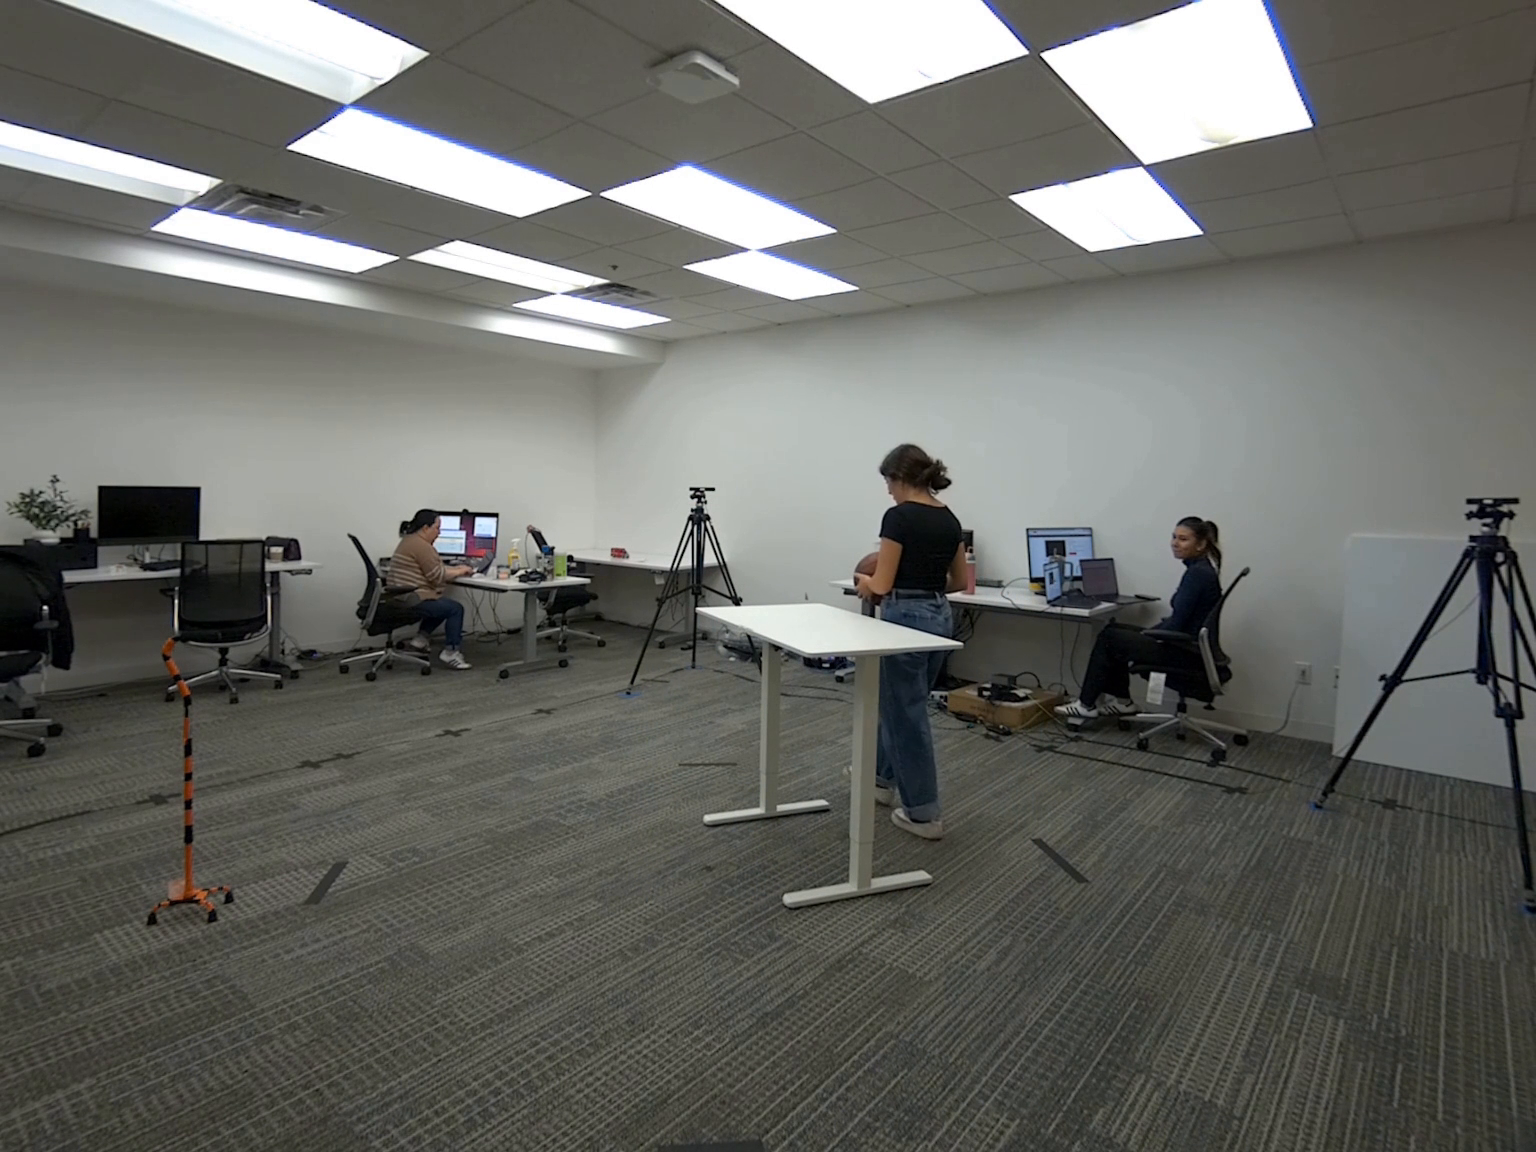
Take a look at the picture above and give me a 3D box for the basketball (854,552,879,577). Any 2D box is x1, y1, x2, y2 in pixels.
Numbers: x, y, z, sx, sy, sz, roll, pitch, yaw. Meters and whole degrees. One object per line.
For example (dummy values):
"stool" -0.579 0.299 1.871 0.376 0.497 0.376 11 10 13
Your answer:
"basketball" 0.489 0.006 3.738 0.235 0.235 0.237 1 4 -2
